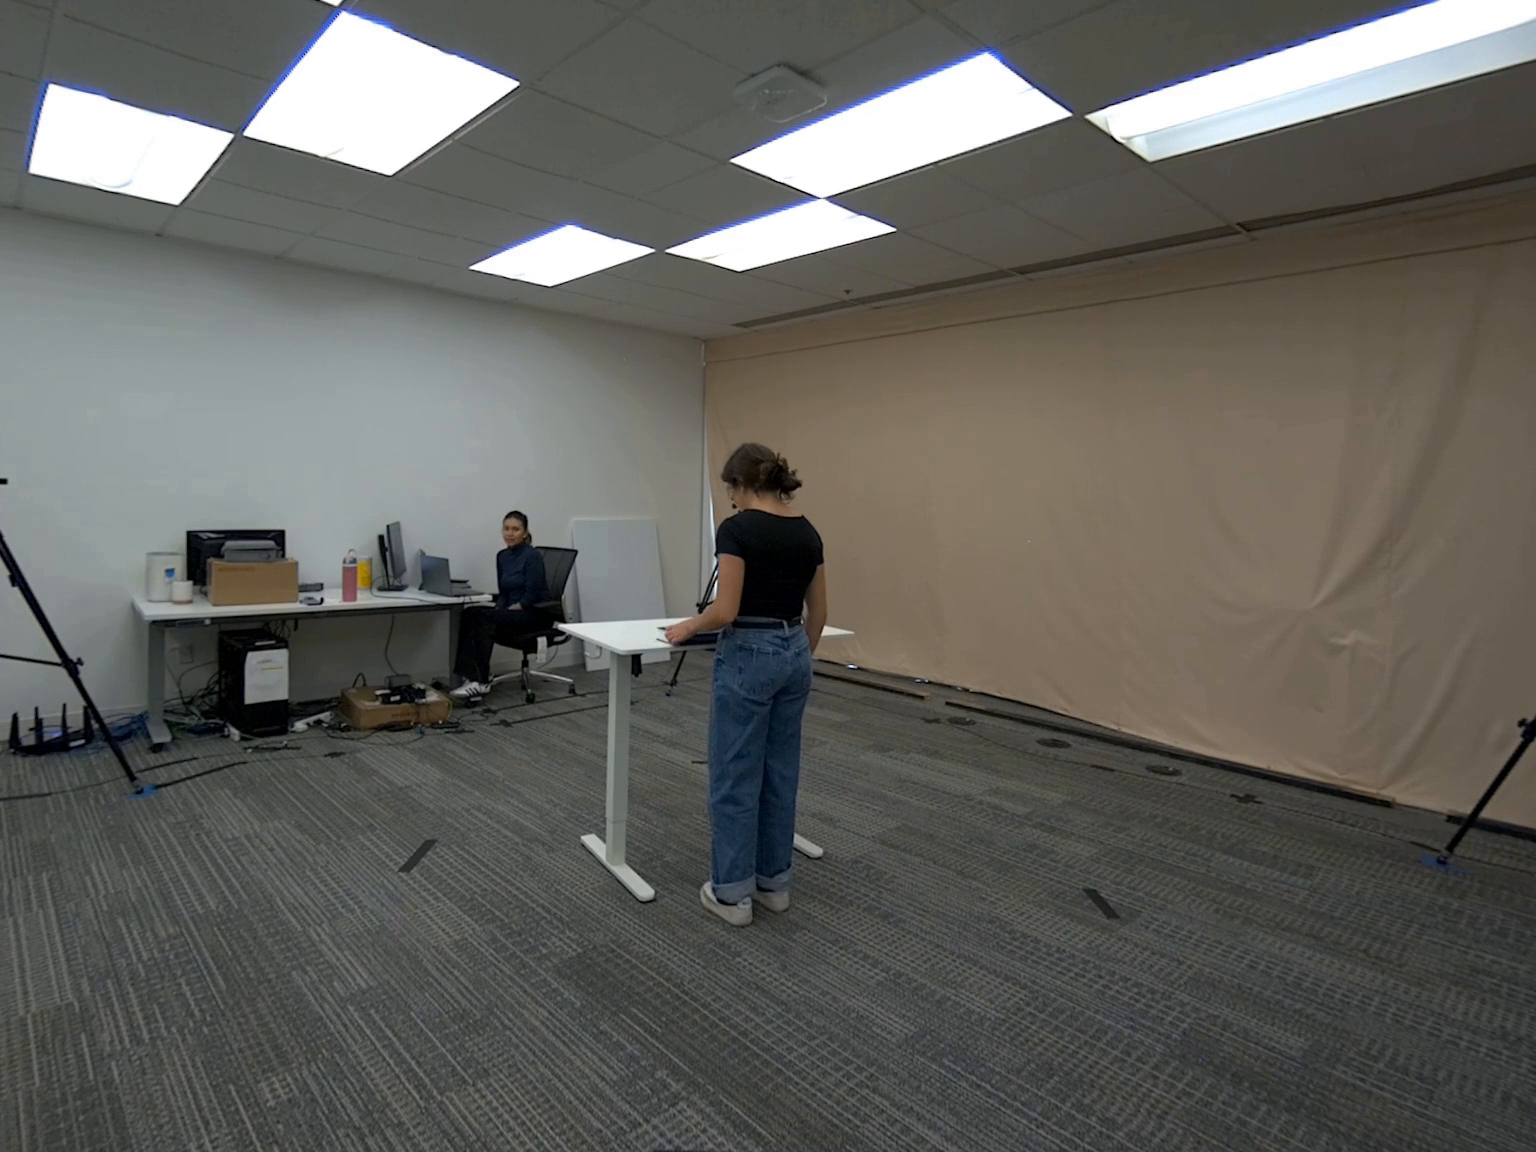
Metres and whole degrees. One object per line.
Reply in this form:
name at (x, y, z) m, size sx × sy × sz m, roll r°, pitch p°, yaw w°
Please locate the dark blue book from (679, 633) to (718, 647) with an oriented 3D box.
dark blue book at (-0.251, 0.220, 2.999) m, size 0.240 × 0.045 × 0.167 m, roll 0°, pitch 5°, yaw -29°
